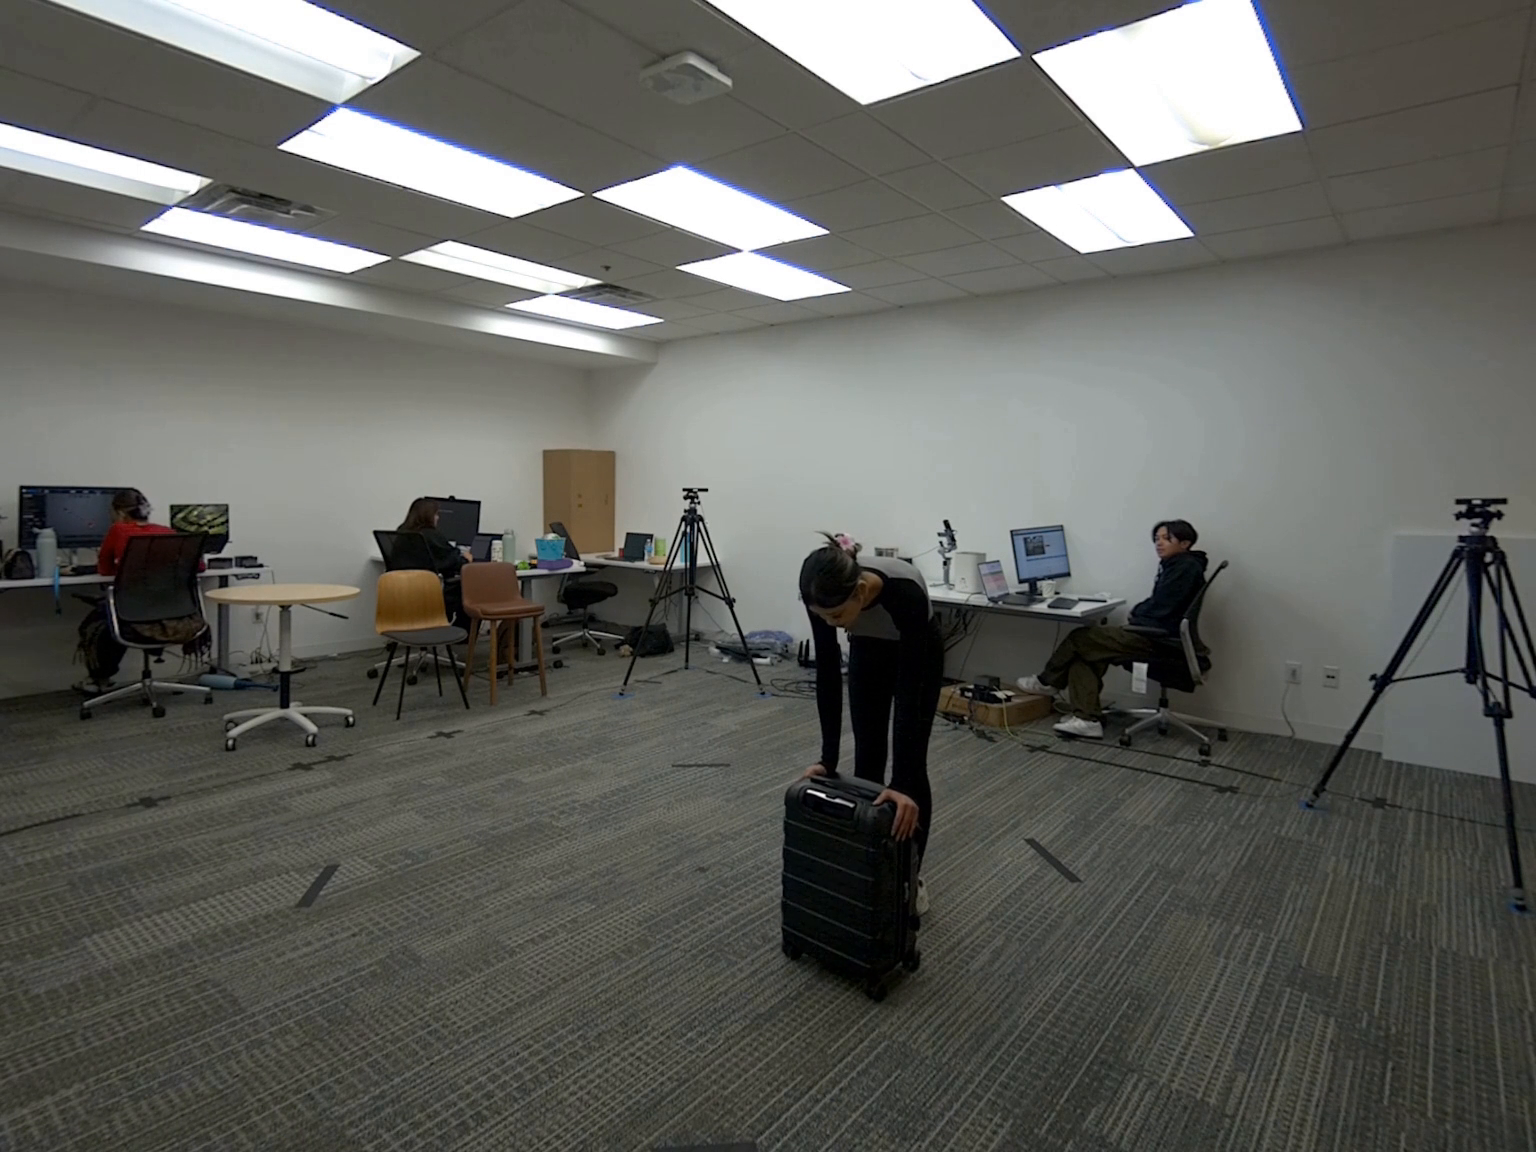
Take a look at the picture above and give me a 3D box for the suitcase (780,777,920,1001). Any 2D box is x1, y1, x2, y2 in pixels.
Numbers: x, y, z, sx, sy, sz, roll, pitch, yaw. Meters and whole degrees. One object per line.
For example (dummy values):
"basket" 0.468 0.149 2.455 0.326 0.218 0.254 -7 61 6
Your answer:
"suitcase" 0.230 0.865 2.487 0.388 0.547 0.241 4 6 41
